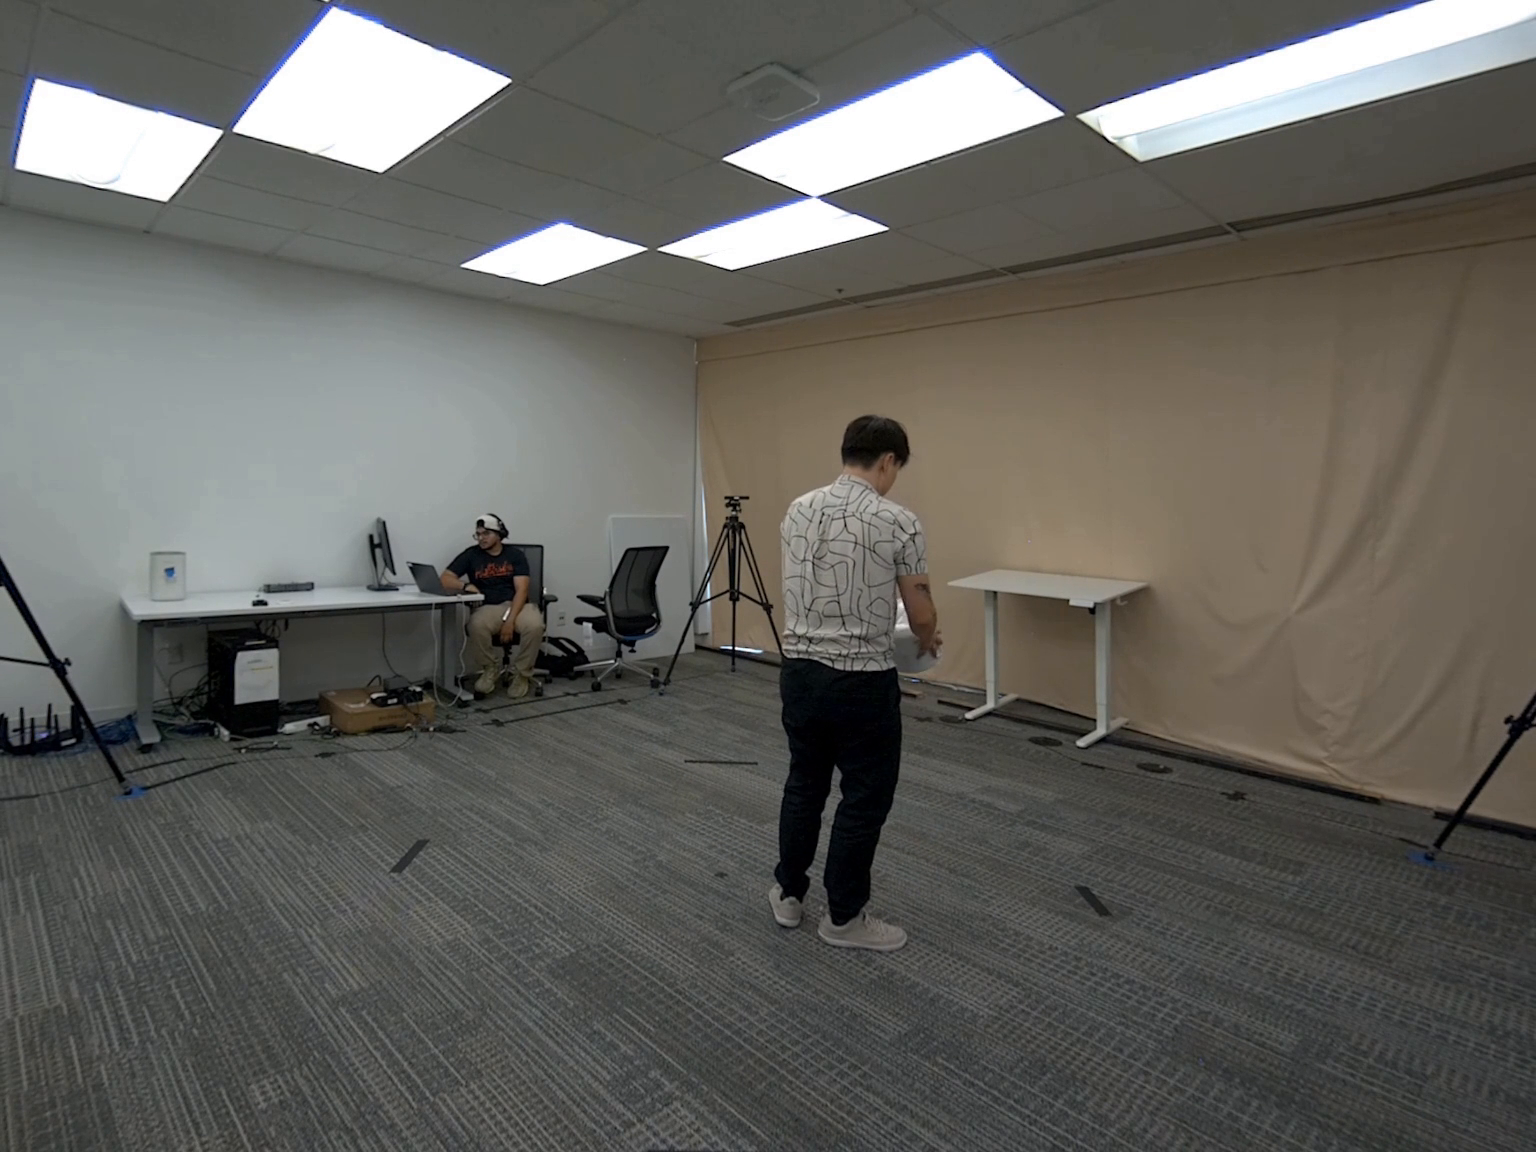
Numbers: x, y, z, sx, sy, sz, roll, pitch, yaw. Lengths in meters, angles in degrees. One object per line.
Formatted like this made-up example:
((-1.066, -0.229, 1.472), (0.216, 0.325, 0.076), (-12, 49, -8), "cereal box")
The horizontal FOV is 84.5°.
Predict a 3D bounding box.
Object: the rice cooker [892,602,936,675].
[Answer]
((0.482, 0.195, 2.915), (0.223, 0.226, 0.220), (12, 49, 41), "rice cooker")
